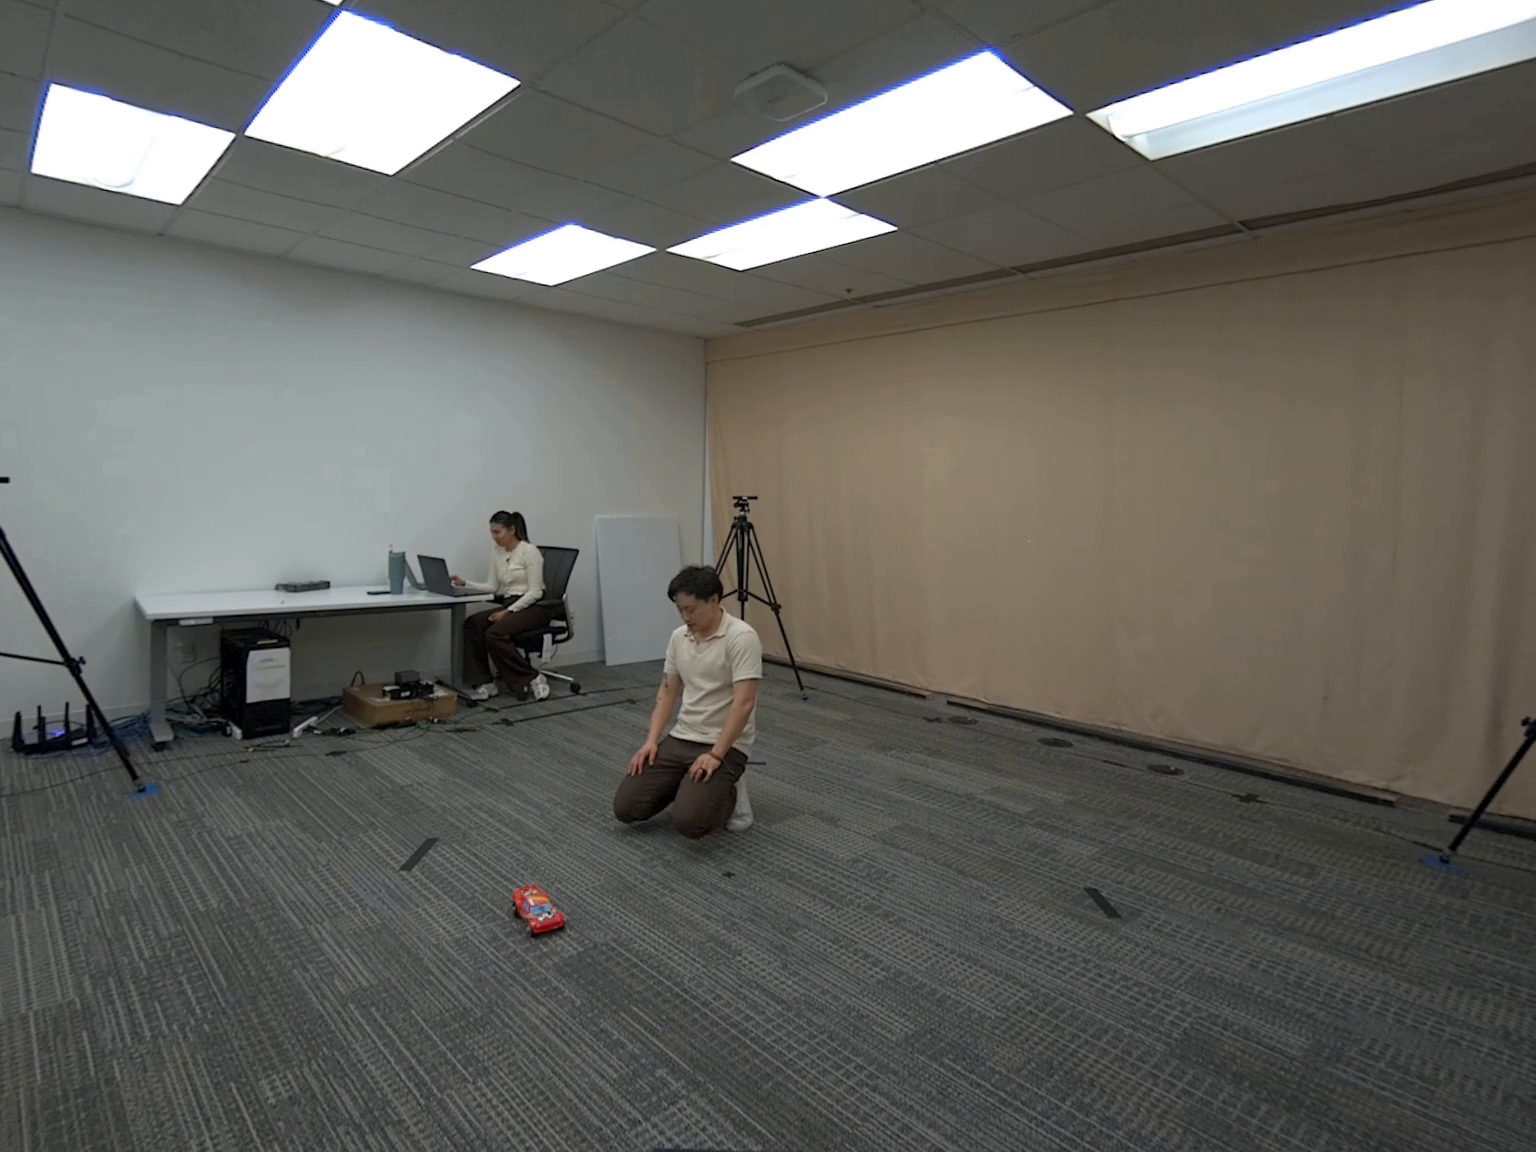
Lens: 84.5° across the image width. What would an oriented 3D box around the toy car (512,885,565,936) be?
[{"bbox_3d":[-0.773,1.092,2.743,0.128,0.082,0.262,-3,18,-32],"label":"toy car"}]
